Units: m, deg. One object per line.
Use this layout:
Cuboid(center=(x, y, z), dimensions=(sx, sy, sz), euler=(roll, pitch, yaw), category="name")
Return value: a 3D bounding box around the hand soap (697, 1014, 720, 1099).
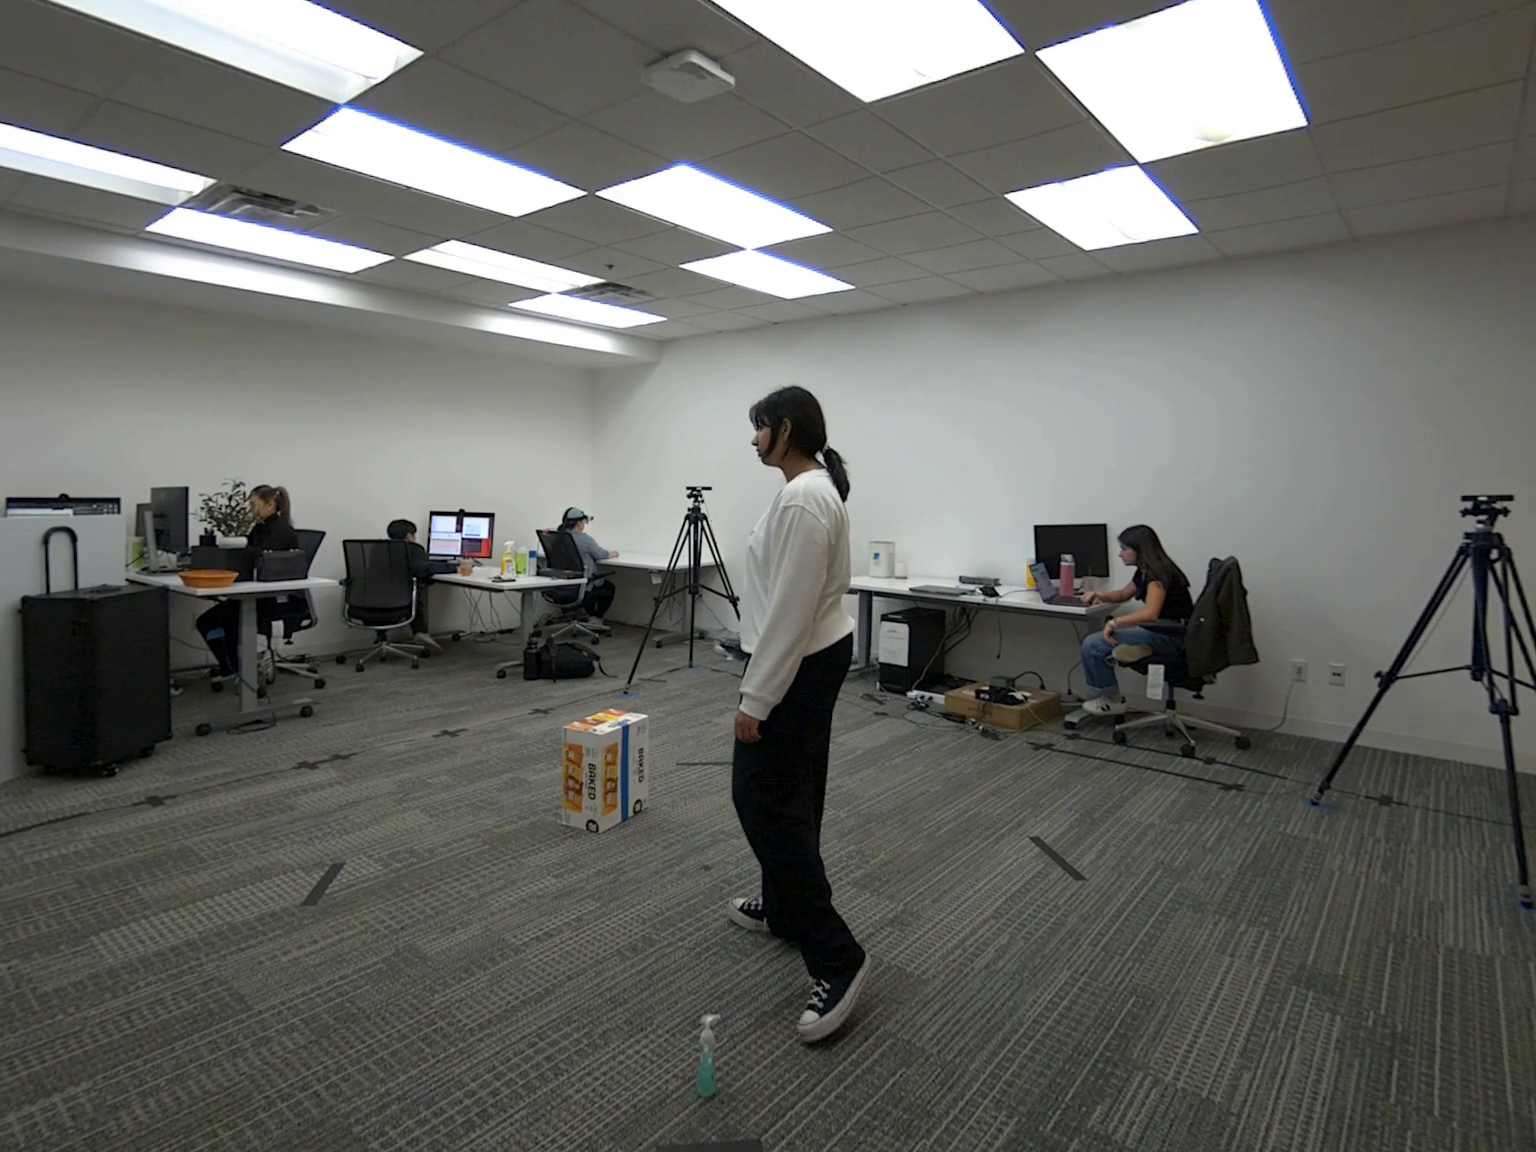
Cuboid(center=(-0.144, 1.105, 1.961), dimensions=(0.043, 0.168, 0.085), euler=(2, 1, -5), category="hand soap")
